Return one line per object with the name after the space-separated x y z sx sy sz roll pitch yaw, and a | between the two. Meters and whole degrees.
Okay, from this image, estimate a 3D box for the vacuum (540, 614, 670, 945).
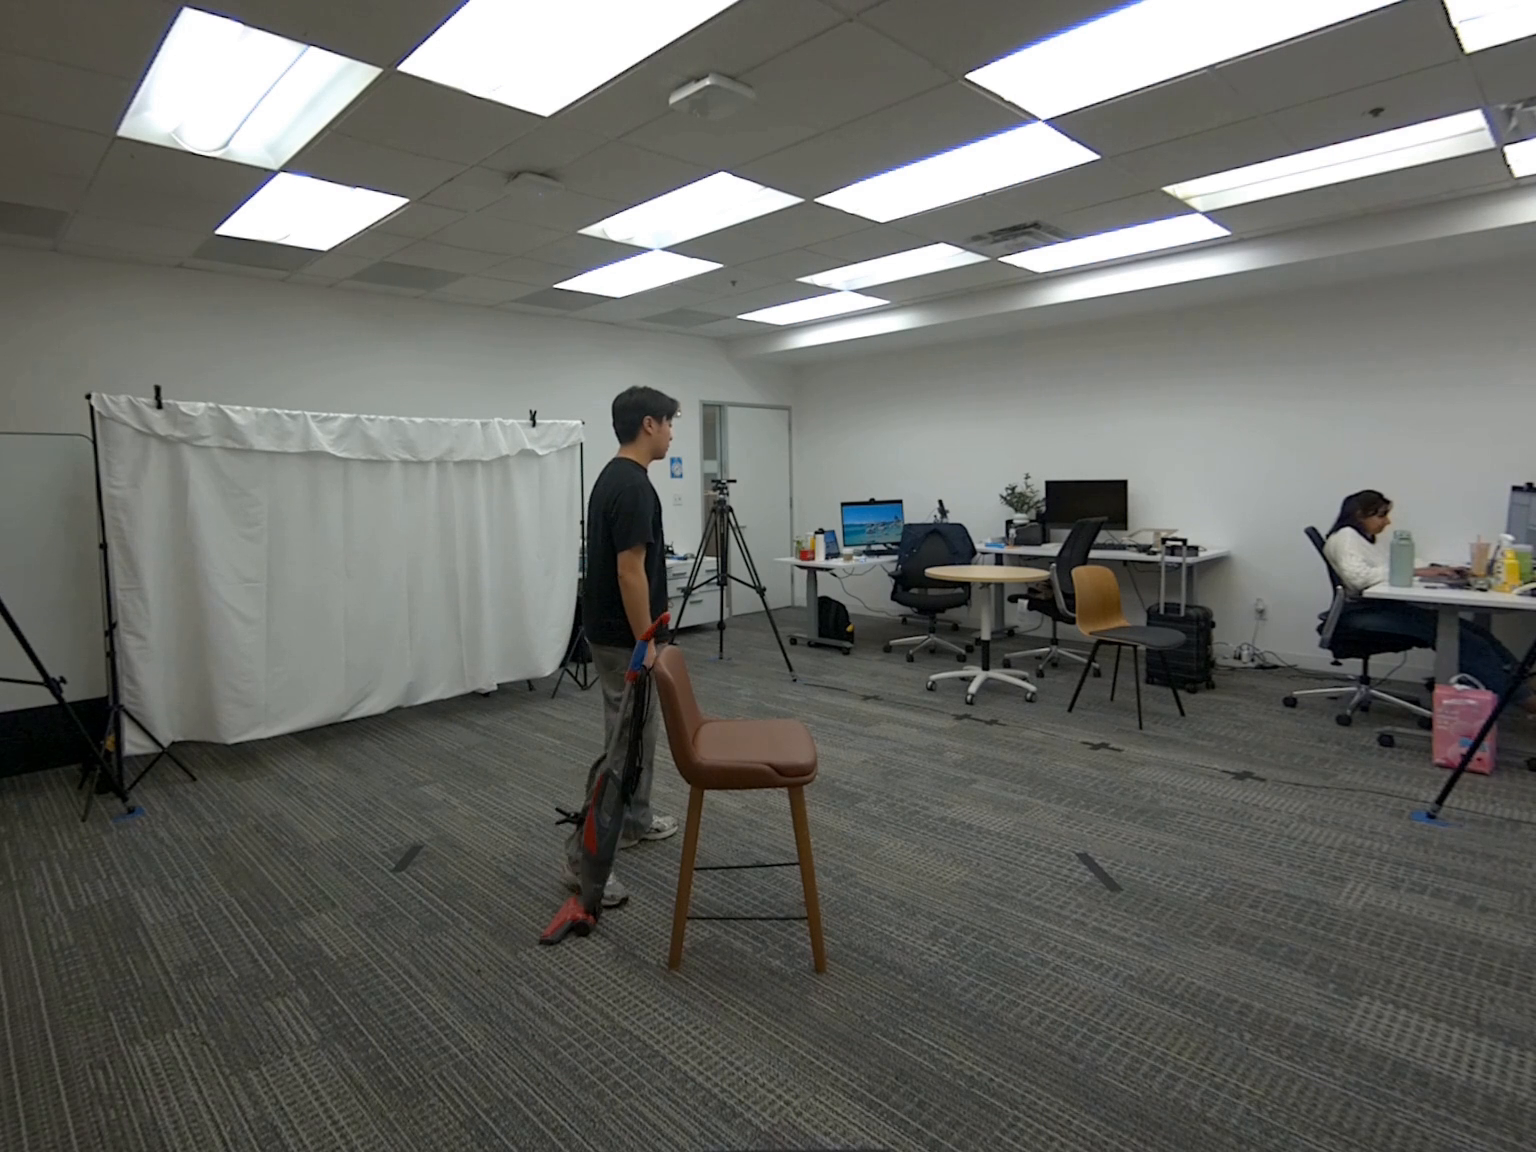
-0.467 0.612 2.630 0.144 1.044 0.253 17 8 1 | vacuum
